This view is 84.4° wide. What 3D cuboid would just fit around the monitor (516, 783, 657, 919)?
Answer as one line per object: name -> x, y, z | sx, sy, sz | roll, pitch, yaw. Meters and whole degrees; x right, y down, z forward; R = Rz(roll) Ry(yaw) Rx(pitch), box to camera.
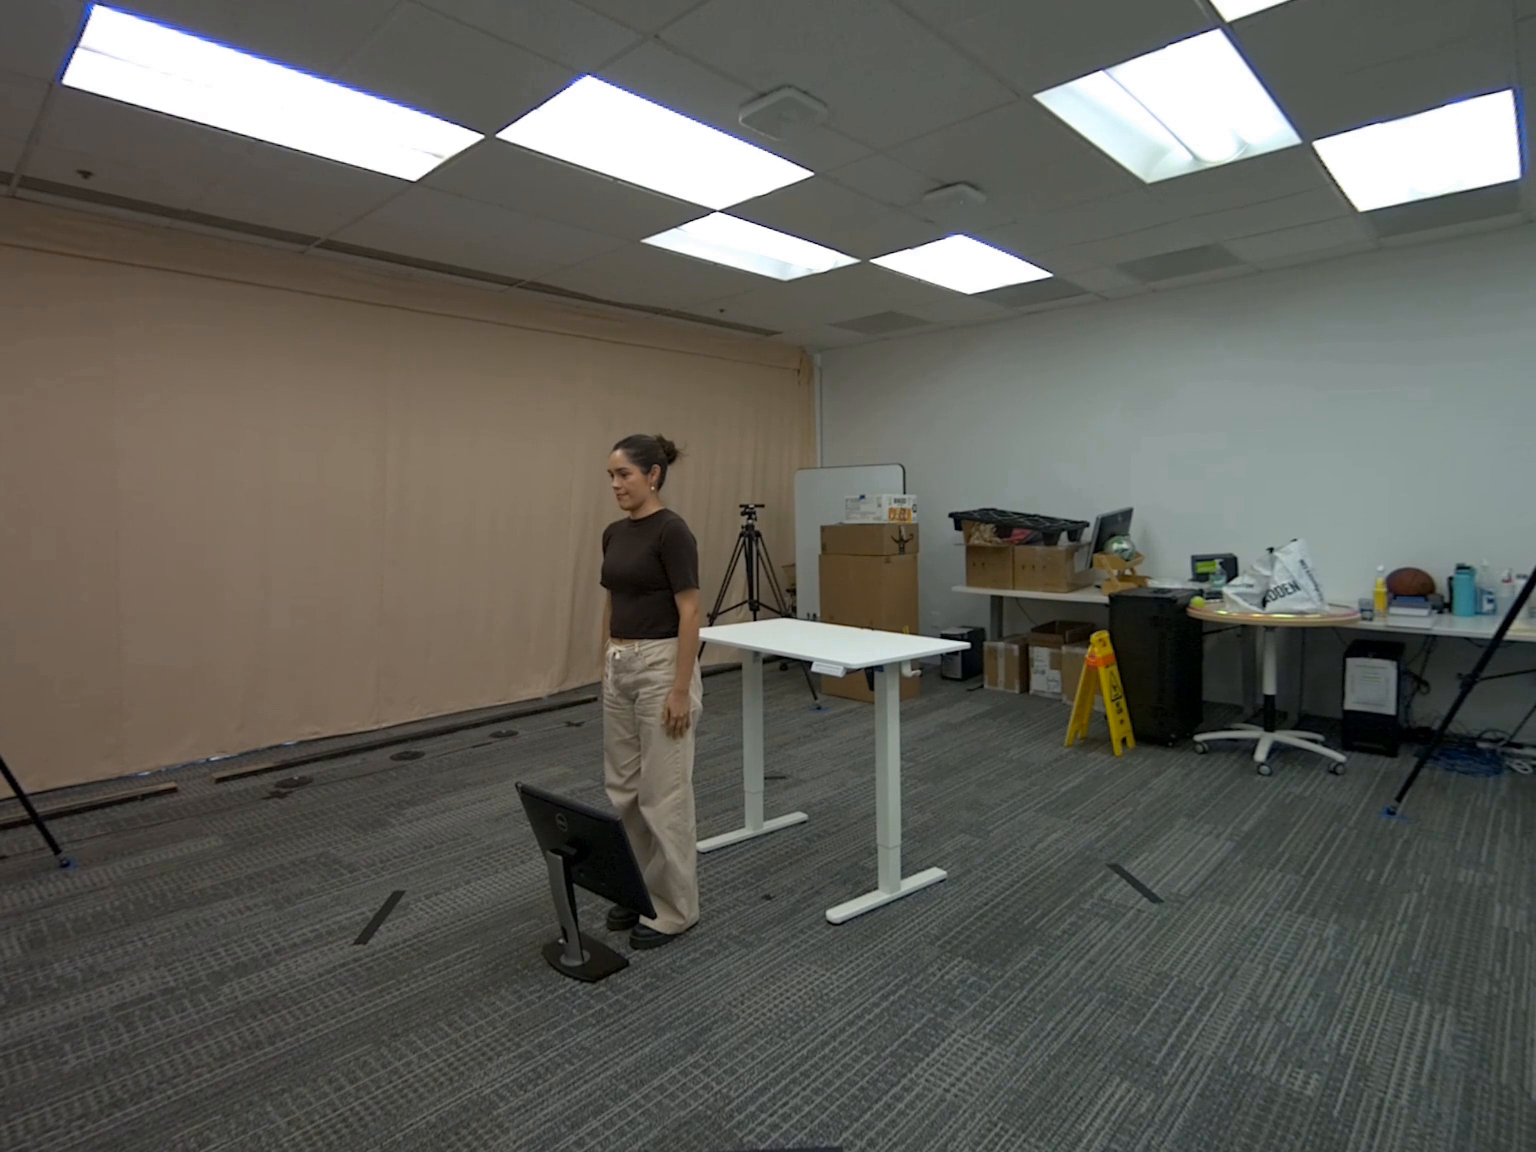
monitor -> -0.596, 0.936, 2.573 | 0.557, 0.520, 0.182 | 1, 9, 43
